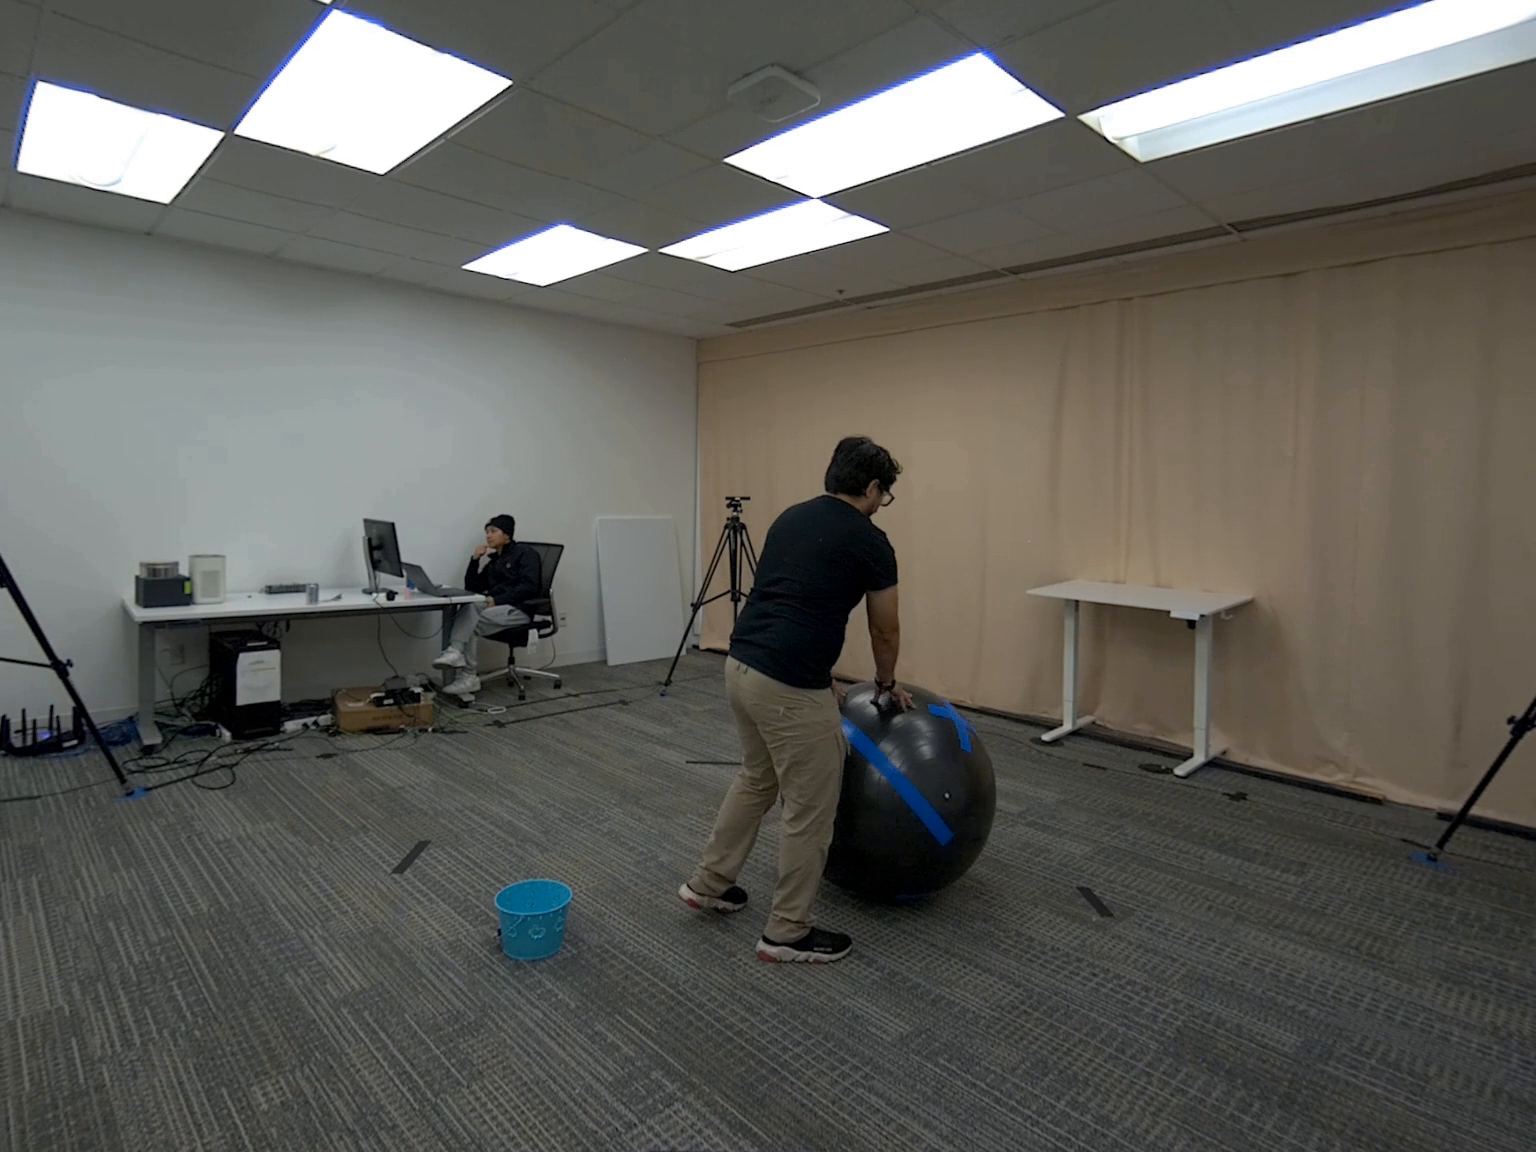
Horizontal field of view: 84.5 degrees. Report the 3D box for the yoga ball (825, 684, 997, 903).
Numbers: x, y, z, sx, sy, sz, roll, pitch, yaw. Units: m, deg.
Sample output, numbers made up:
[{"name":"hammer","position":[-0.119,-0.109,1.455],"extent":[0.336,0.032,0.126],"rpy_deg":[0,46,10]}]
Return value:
[{"name":"yoga ball","position":[0.429,0.766,3.022],"extent":[0.757,0.756,0.761],"rpy_deg":[1,4,-1]}]
